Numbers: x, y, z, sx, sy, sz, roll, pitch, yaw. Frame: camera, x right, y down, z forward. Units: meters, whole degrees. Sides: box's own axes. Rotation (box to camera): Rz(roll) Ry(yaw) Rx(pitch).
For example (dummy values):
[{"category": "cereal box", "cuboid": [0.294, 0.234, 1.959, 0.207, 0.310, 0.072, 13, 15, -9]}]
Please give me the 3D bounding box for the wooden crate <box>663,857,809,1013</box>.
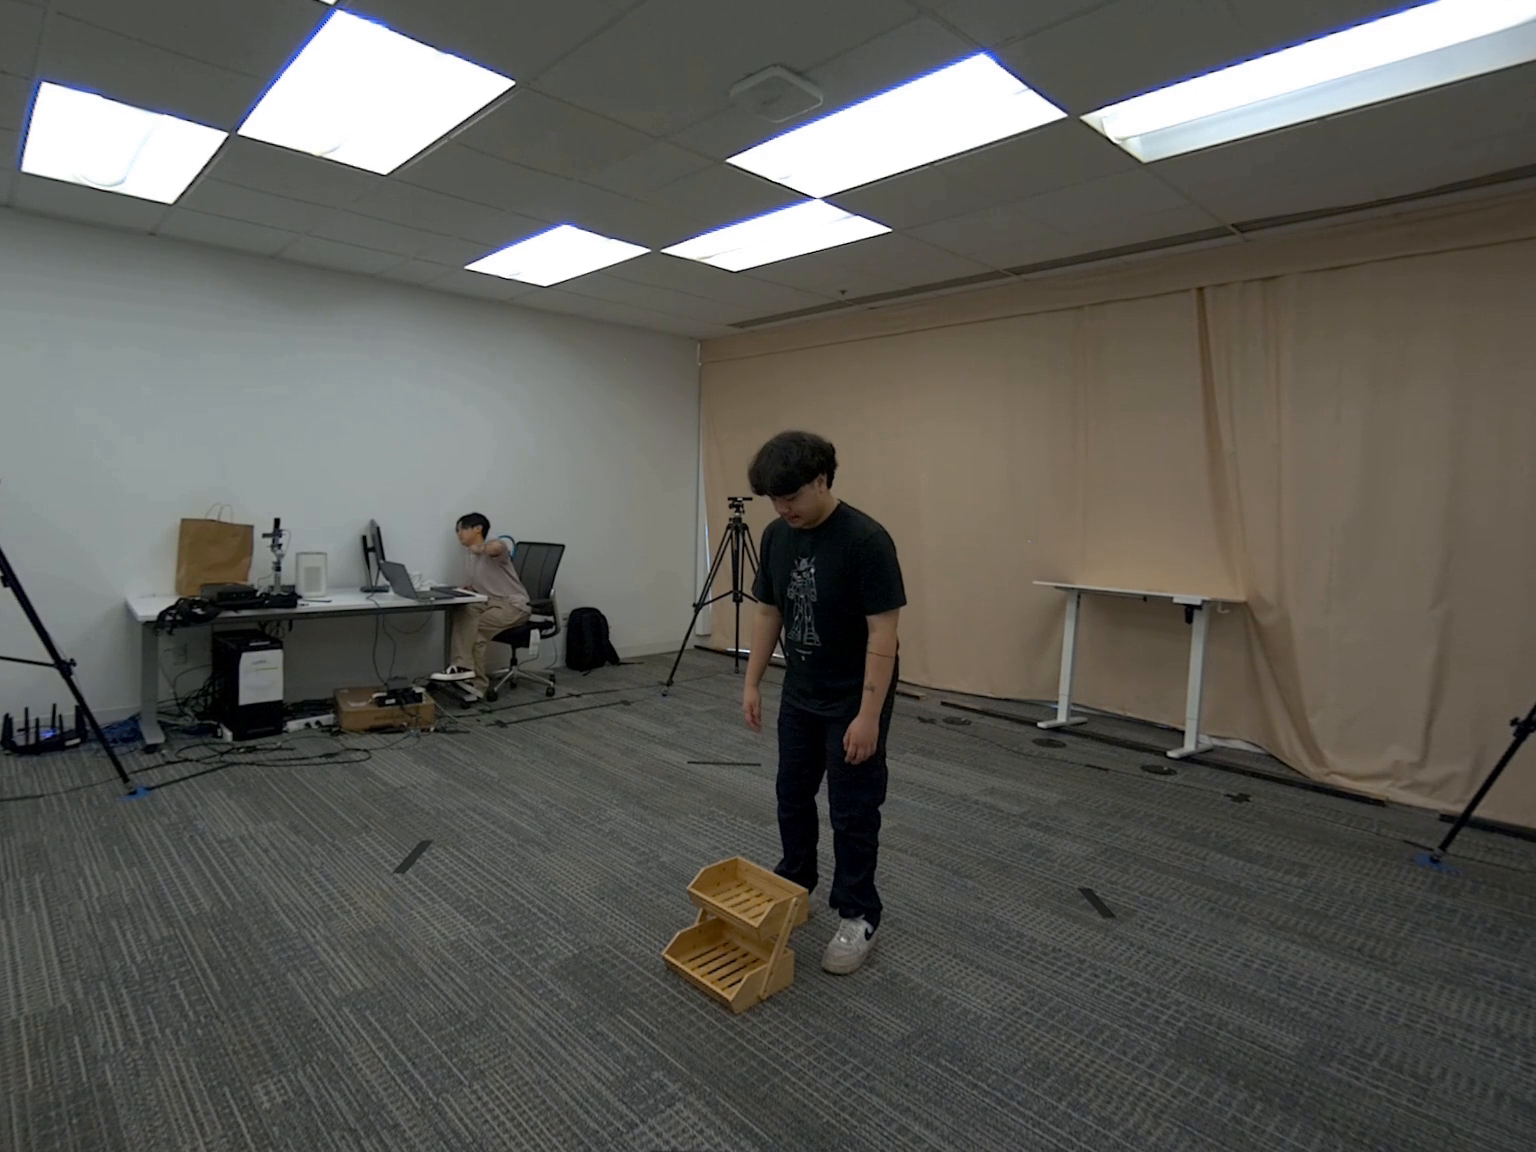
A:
[{"category": "wooden crate", "cuboid": [-0.106, 1.033, 2.455, 0.333, 0.273, 0.295, 6, 5, 45]}]
